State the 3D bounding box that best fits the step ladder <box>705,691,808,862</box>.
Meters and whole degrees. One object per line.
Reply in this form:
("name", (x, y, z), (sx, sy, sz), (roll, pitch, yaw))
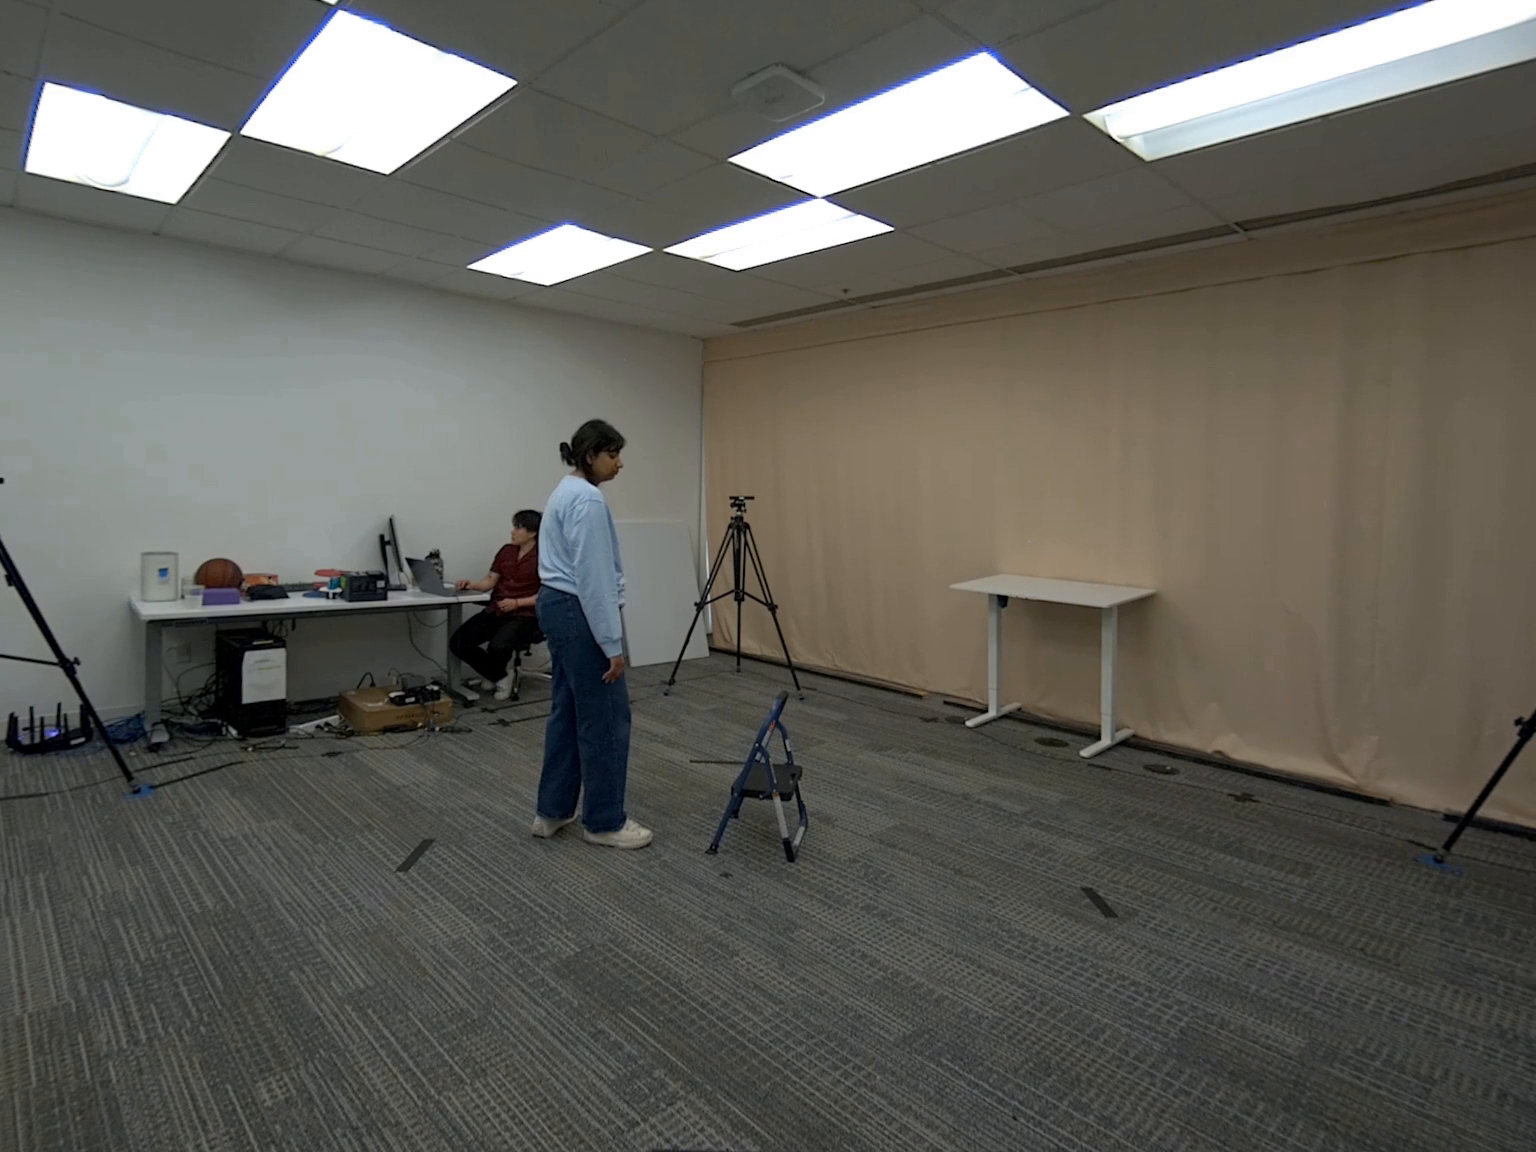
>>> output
("step ladder", (-0.031, 0.775, 3.444), (0.353, 0.604, 0.427), (2, 4, 11))
